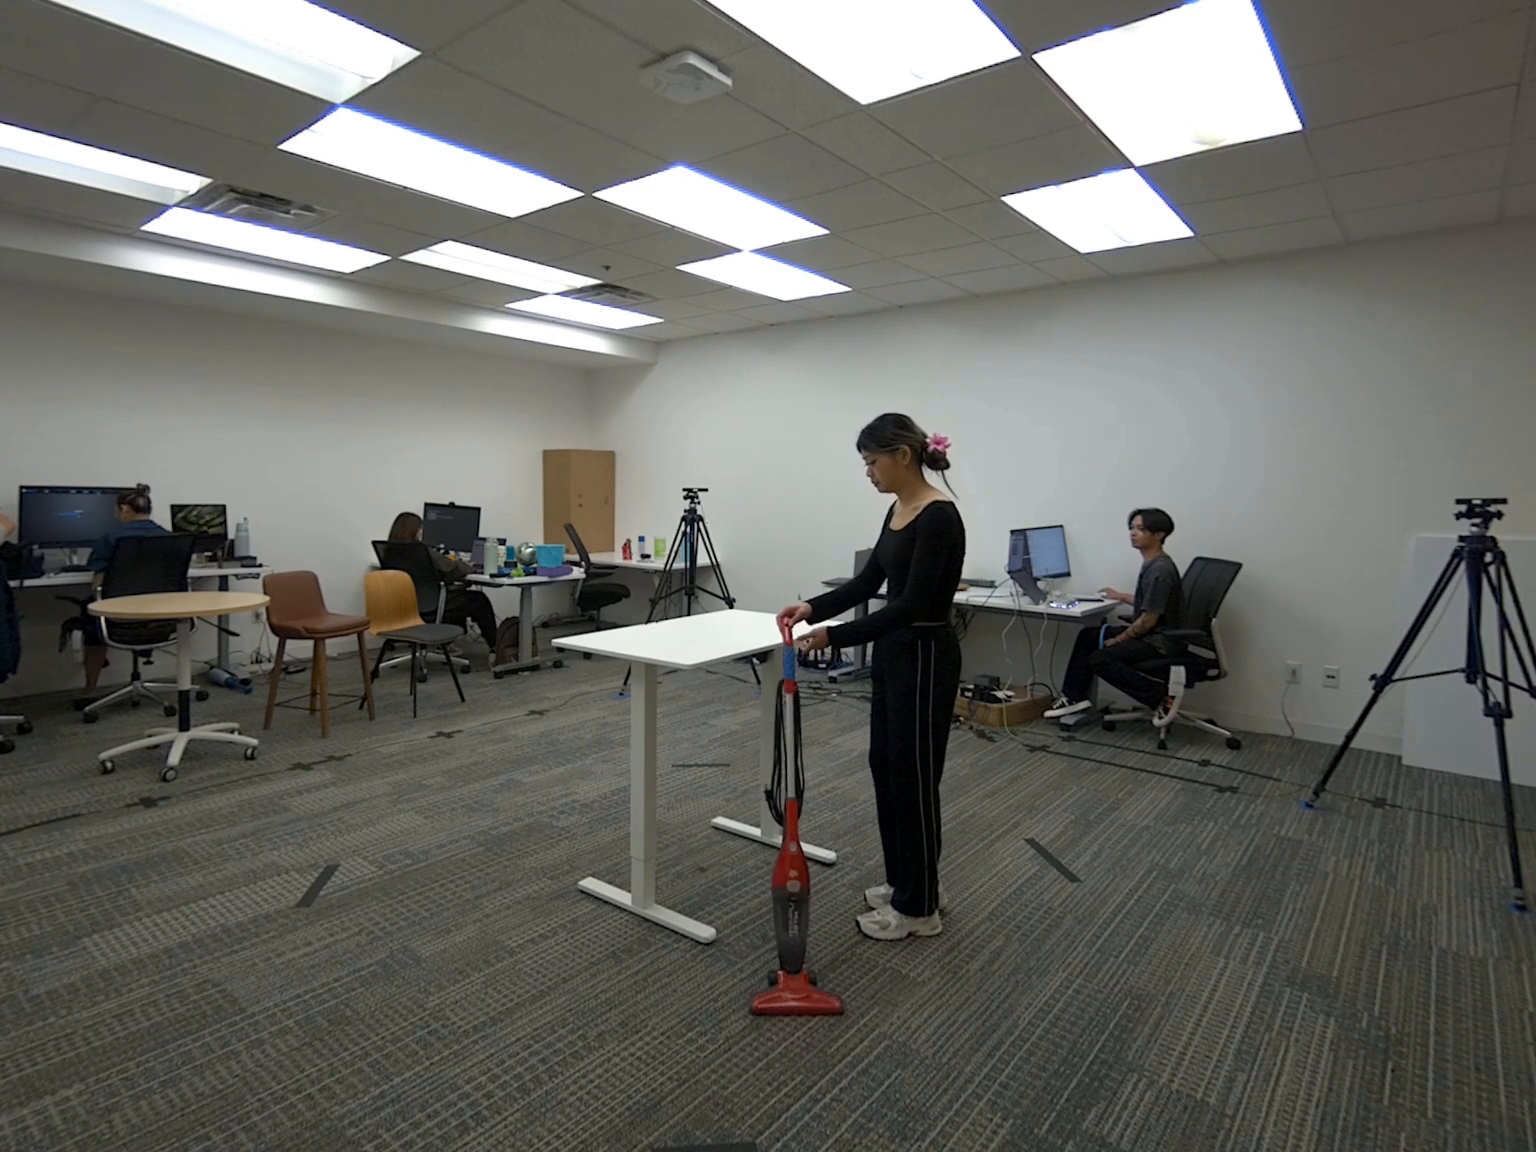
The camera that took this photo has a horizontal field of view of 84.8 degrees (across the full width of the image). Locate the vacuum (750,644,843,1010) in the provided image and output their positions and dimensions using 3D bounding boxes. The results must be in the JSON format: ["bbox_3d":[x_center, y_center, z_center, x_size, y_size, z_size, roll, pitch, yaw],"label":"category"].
[{"bbox_3d":[0.061,0.648,2.486,0.252,1.068,0.142,0,-19,-2],"label":"vacuum"}]
